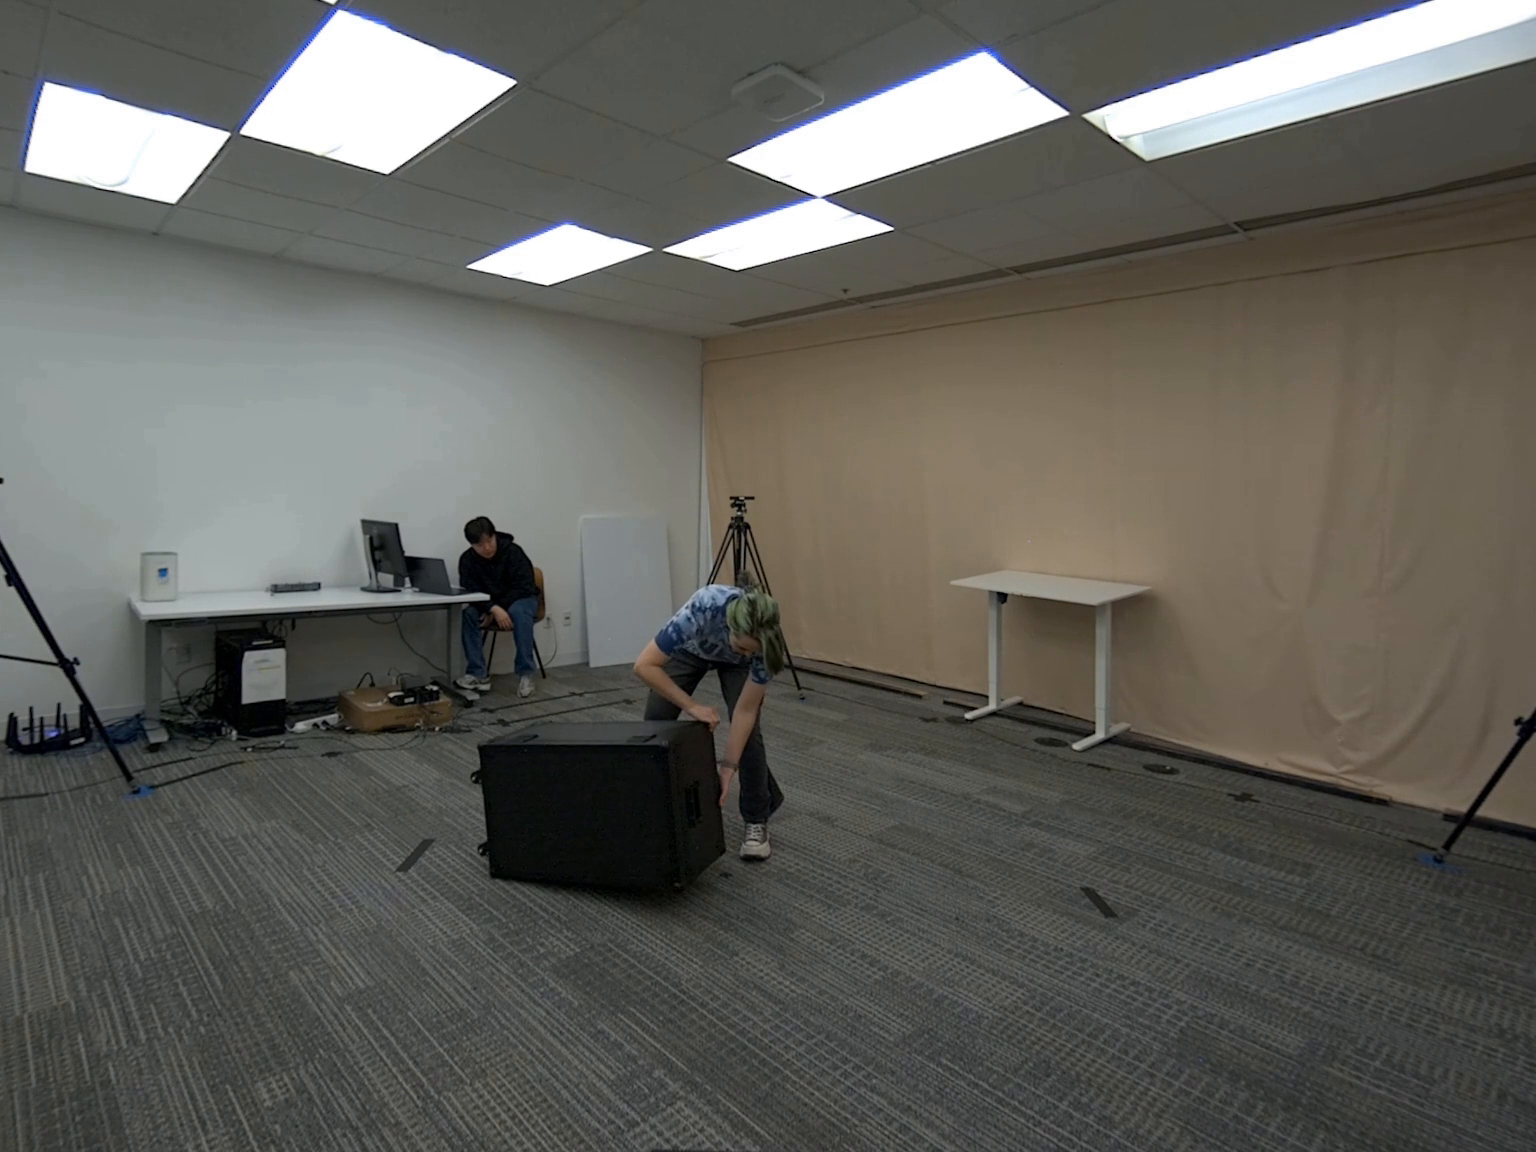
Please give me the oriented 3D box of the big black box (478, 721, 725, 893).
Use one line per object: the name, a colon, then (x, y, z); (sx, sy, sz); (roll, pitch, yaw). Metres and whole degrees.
big black box: (-0.635, 0.803, 3.063); (0.875, 0.521, 0.390); (-5, 0, 23)
